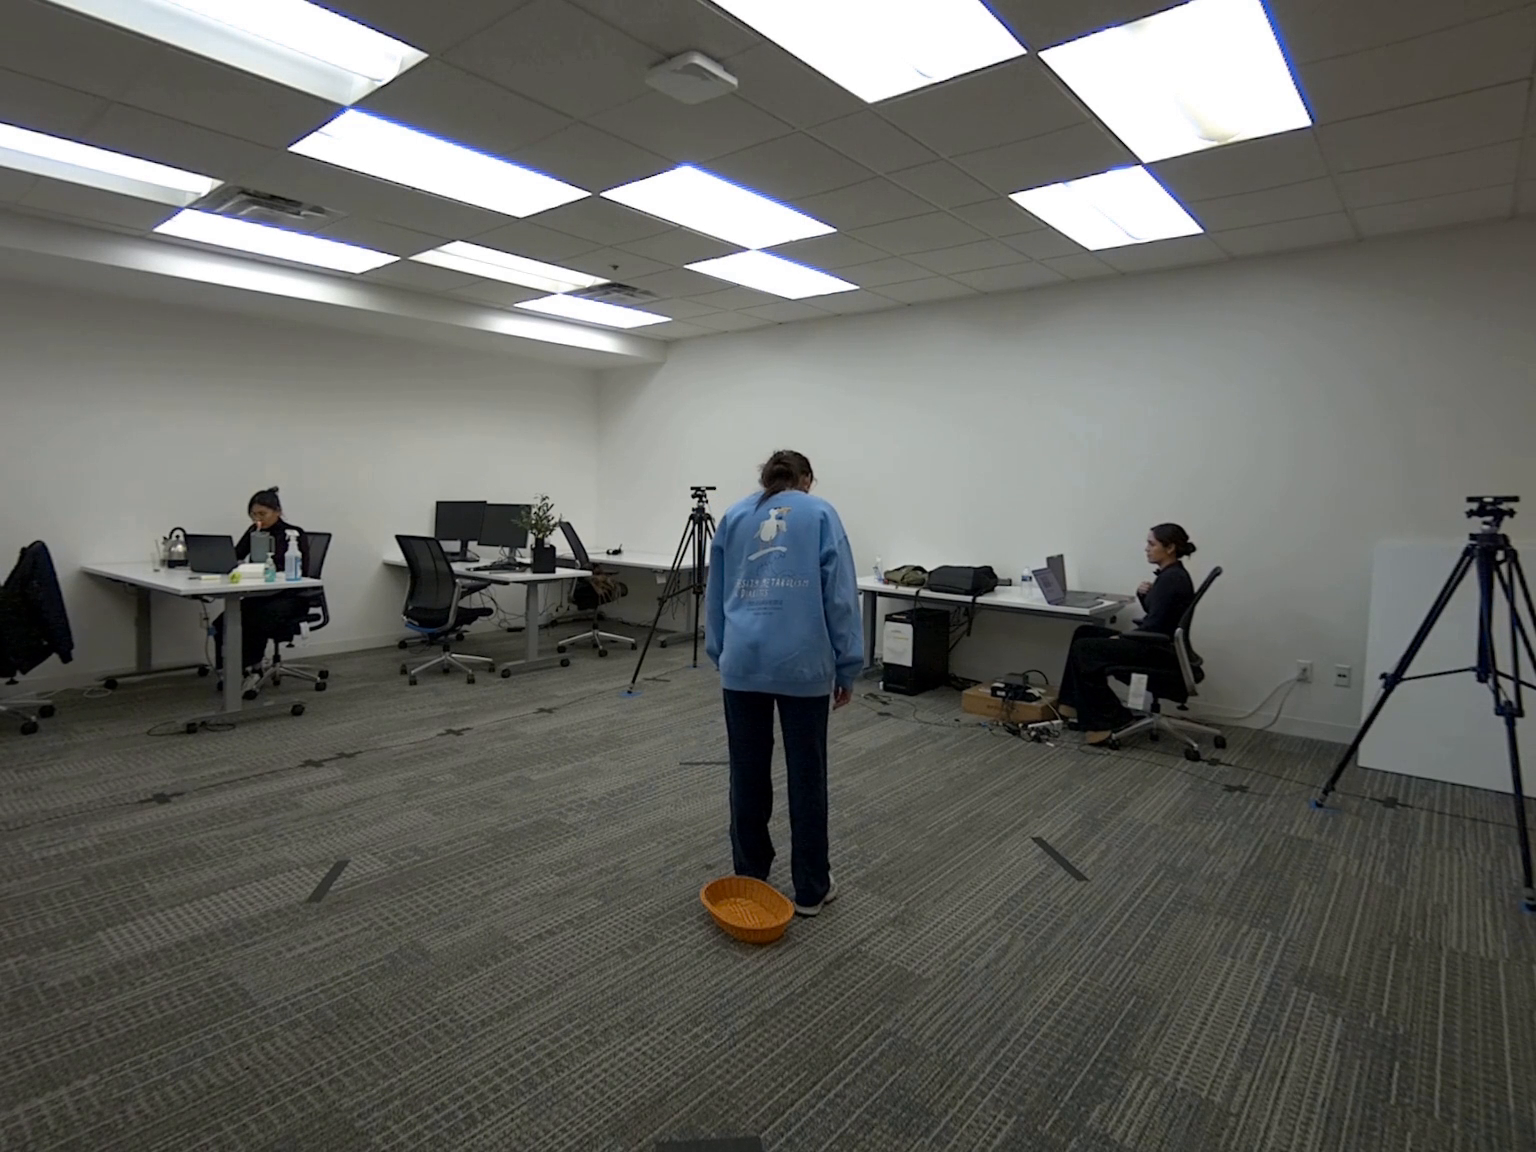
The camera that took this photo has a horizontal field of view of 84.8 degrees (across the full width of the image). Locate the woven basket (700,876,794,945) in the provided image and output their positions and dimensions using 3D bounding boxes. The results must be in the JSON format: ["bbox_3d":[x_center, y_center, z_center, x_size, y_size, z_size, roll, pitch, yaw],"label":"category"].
[{"bbox_3d":[-0.071,1.064,2.726,0.246,0.073,0.361,-3,7,-28],"label":"woven basket"}]
